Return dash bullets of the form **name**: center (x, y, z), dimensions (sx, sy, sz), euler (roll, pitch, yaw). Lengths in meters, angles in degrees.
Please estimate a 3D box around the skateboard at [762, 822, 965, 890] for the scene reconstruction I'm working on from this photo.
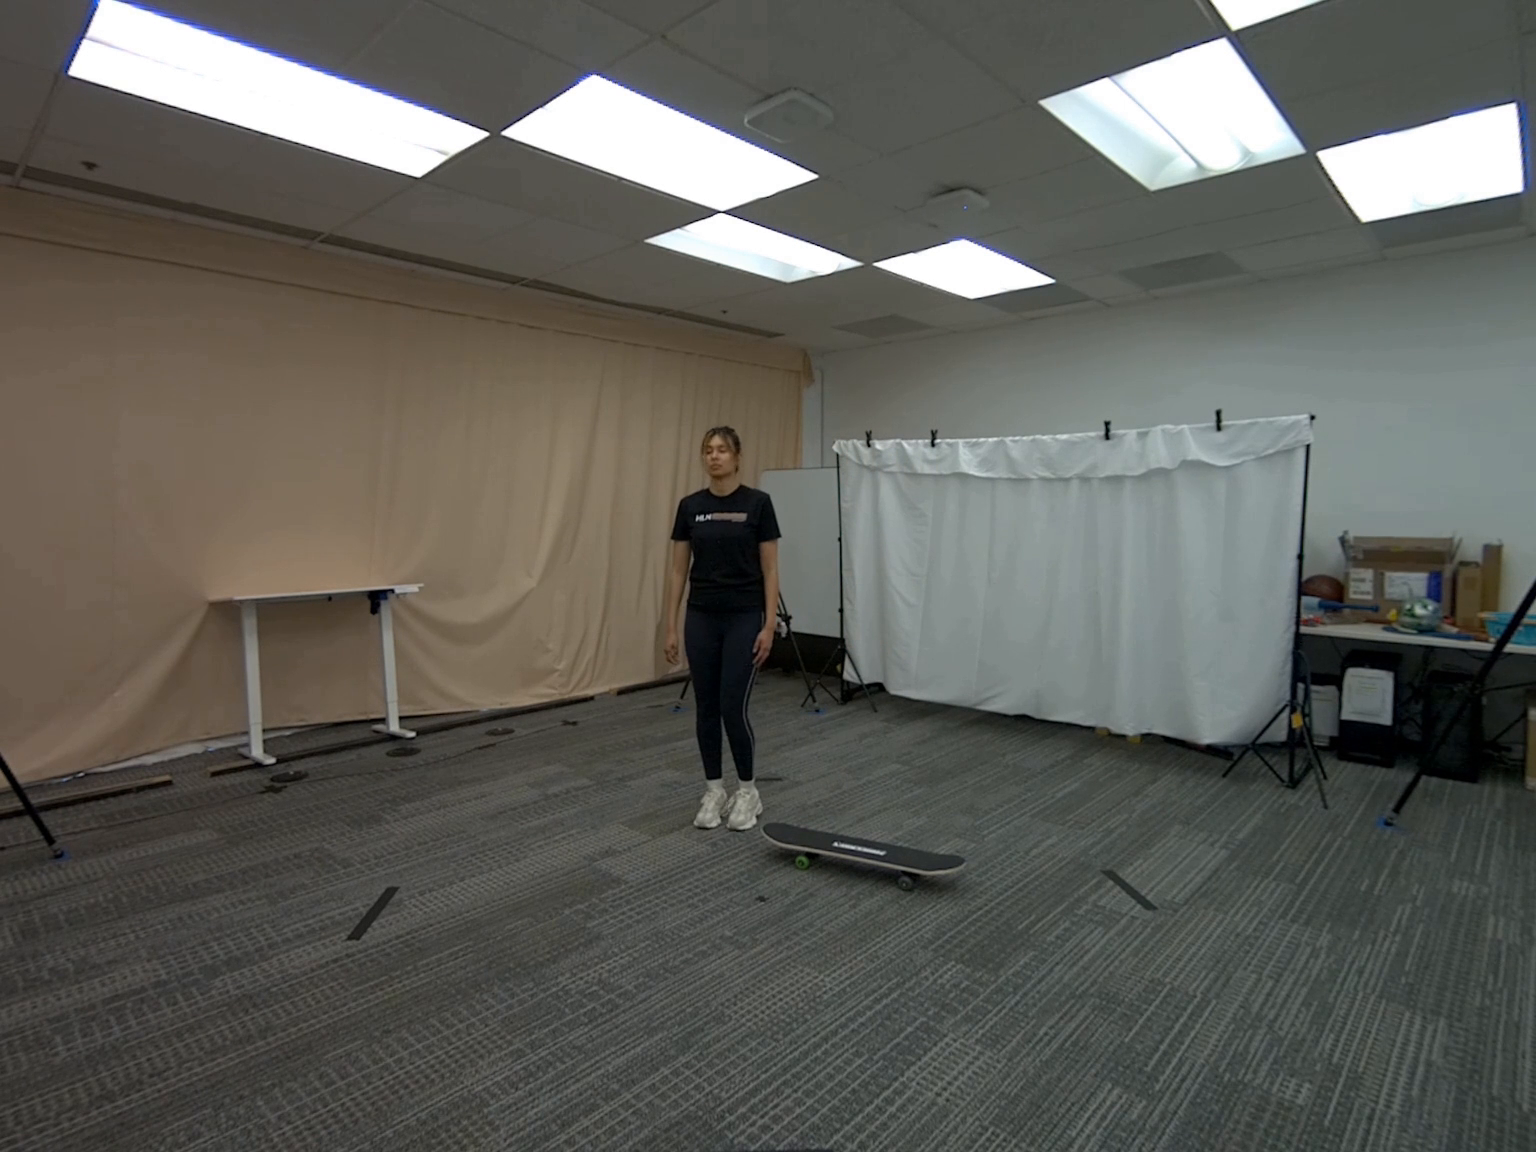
- **skateboard**: center (0.352, 1.065, 3.199), dimensions (0.806, 0.110, 0.189), euler (2, 4, 26)
